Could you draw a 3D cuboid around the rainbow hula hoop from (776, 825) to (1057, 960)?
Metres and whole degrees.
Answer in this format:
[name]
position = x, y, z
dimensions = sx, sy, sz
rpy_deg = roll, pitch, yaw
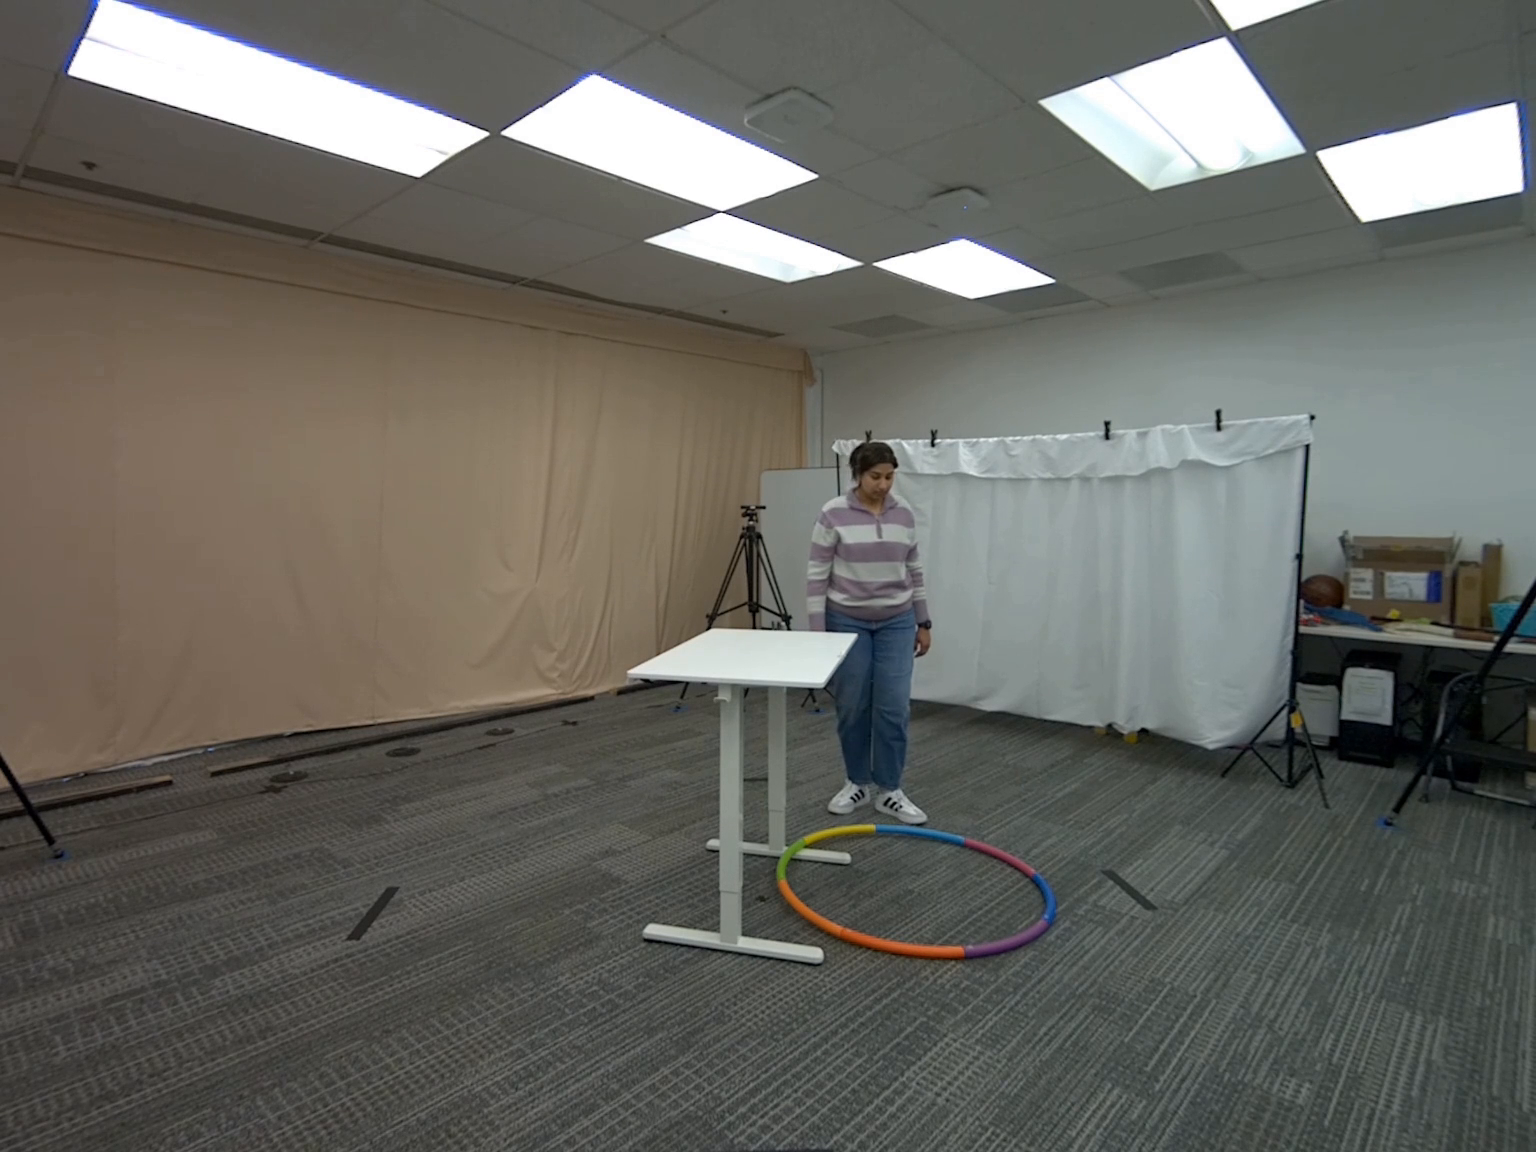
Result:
[rainbow hula hoop]
position = 0.532, 1.103, 3.063
dimensions = 0.978, 0.035, 0.983
rpy_deg = 1, 6, -2
